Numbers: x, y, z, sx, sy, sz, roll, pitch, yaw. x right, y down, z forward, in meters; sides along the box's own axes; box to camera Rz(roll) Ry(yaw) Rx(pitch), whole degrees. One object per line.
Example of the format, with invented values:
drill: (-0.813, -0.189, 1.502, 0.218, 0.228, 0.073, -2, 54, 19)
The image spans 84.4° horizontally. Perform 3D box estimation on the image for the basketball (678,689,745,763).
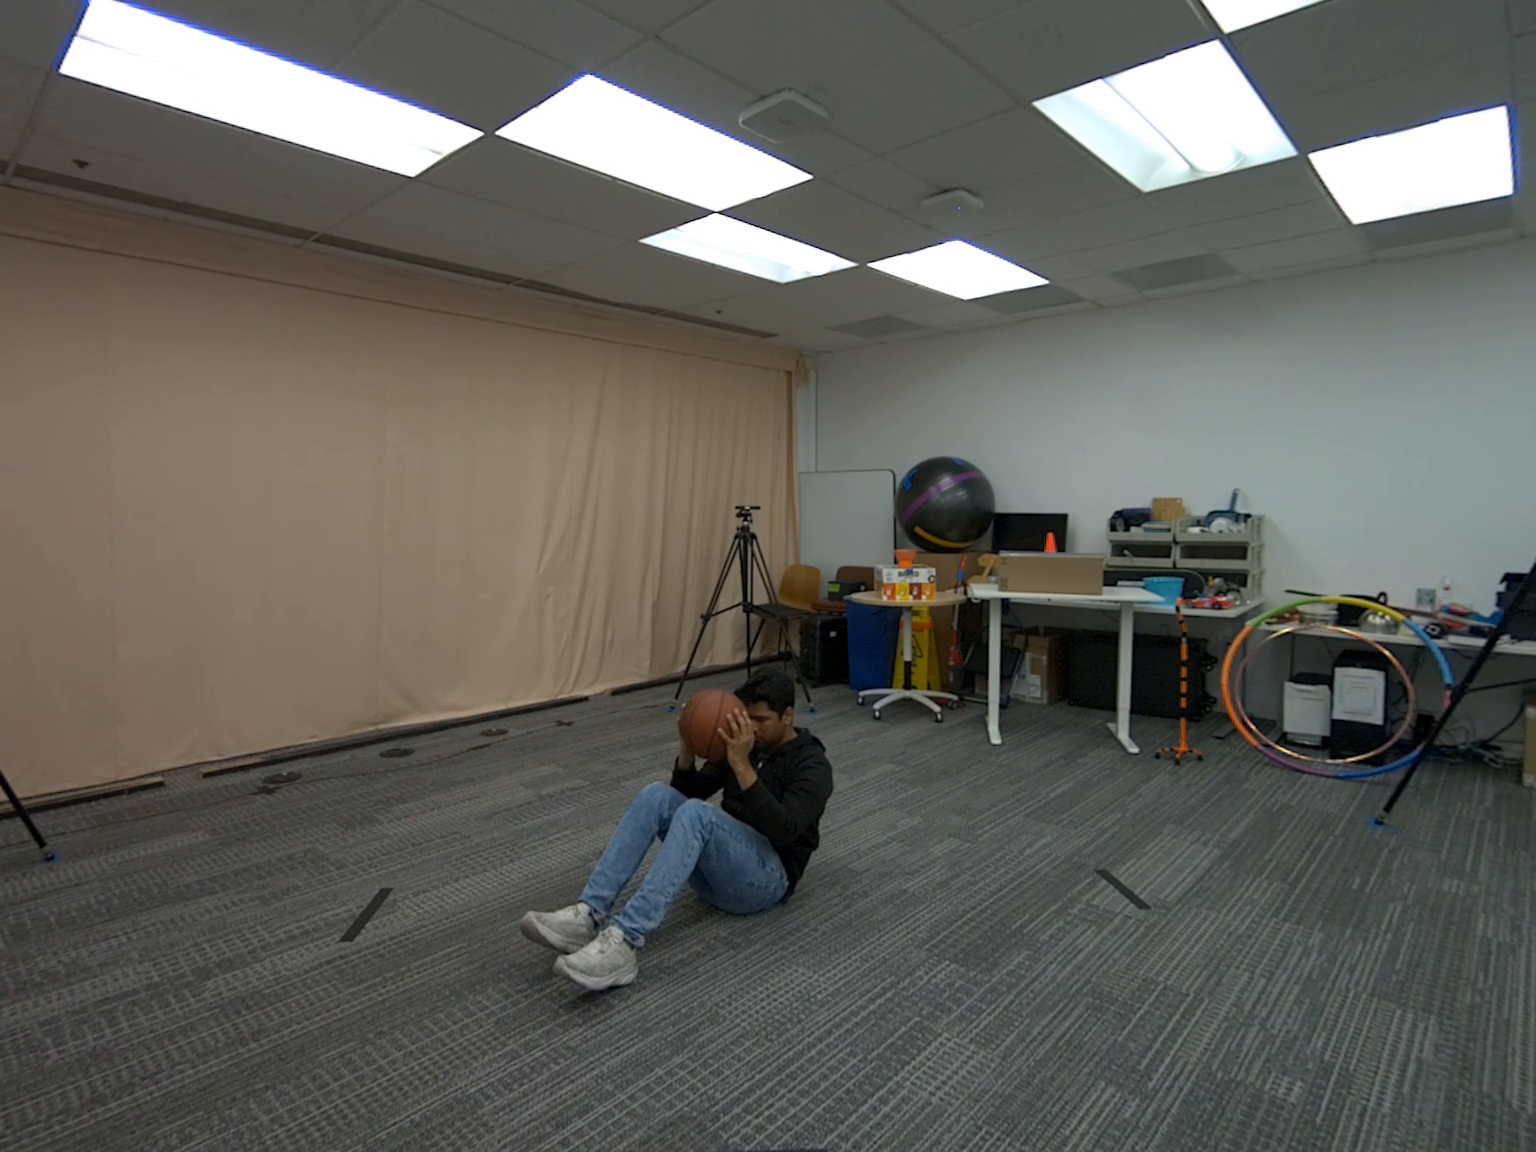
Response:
basketball: (-0.170, 0.504, 2.863, 0.236, 0.235, 0.237, 0, 4, -2)
